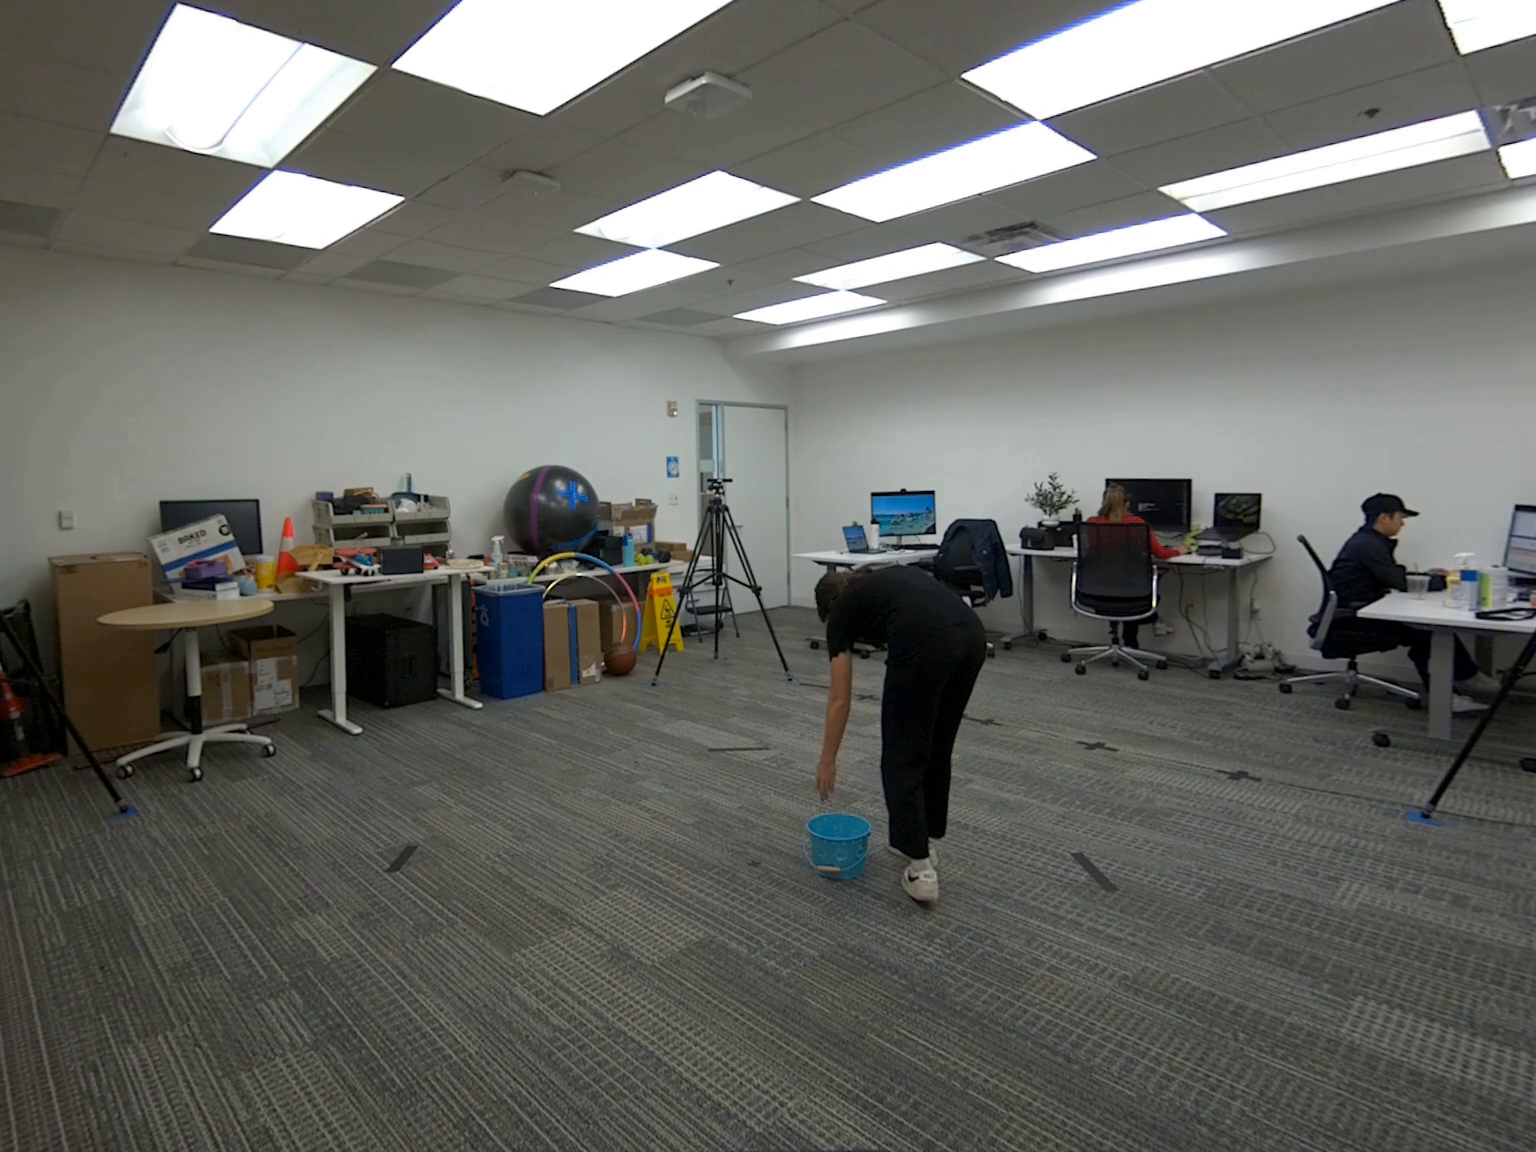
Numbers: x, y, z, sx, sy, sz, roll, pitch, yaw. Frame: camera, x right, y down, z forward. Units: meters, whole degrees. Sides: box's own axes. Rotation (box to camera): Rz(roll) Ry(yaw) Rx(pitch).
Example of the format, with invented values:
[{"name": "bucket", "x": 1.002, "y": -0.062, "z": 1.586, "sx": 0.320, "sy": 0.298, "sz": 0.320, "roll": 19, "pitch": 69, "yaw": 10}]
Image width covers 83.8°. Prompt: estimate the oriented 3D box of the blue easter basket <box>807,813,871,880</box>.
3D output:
[{"name": "blue easter basket", "x": 0.251, "y": 0.966, "z": 3.064, "sx": 0.243, "sy": 0.155, "sz": 0.244, "roll": -1, "pitch": 4, "yaw": -2}]
